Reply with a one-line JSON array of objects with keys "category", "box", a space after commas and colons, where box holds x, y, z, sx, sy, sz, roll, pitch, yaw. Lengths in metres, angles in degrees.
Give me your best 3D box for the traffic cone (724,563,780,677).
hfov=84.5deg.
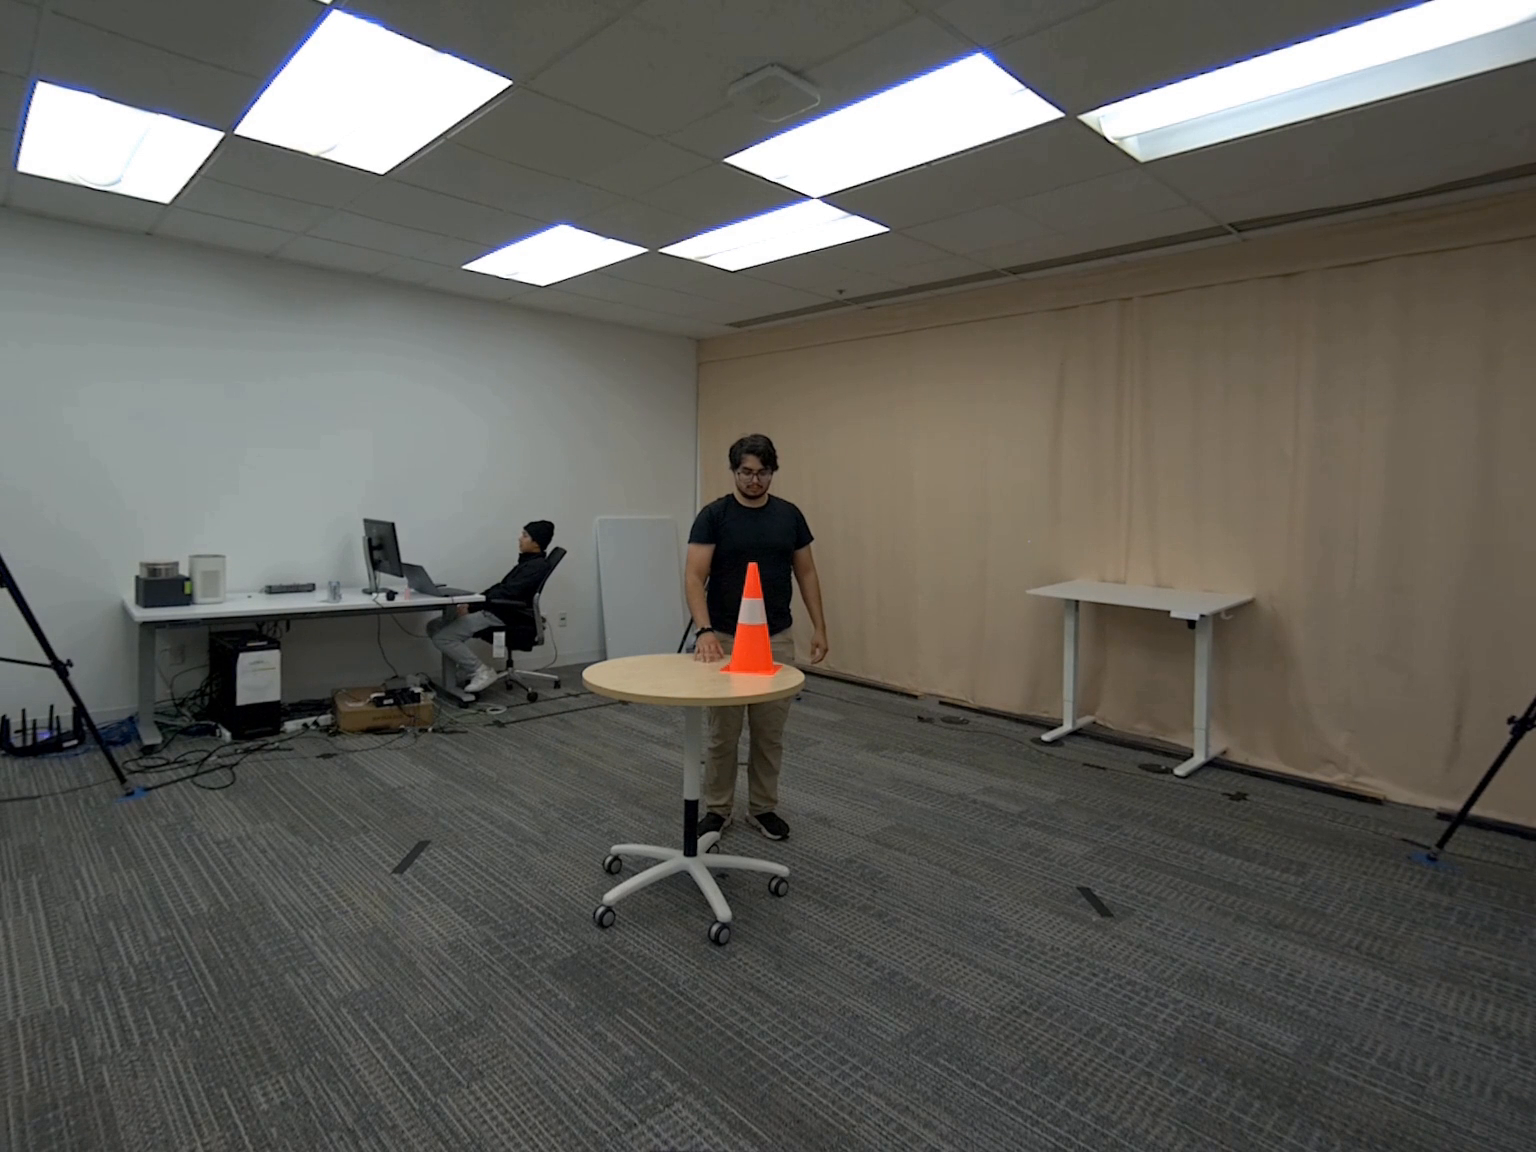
[{"category": "traffic cone", "box": [-0.062, 0.145, 3.015, 0.202, 0.383, 0.206, 3, 4, -6]}]
